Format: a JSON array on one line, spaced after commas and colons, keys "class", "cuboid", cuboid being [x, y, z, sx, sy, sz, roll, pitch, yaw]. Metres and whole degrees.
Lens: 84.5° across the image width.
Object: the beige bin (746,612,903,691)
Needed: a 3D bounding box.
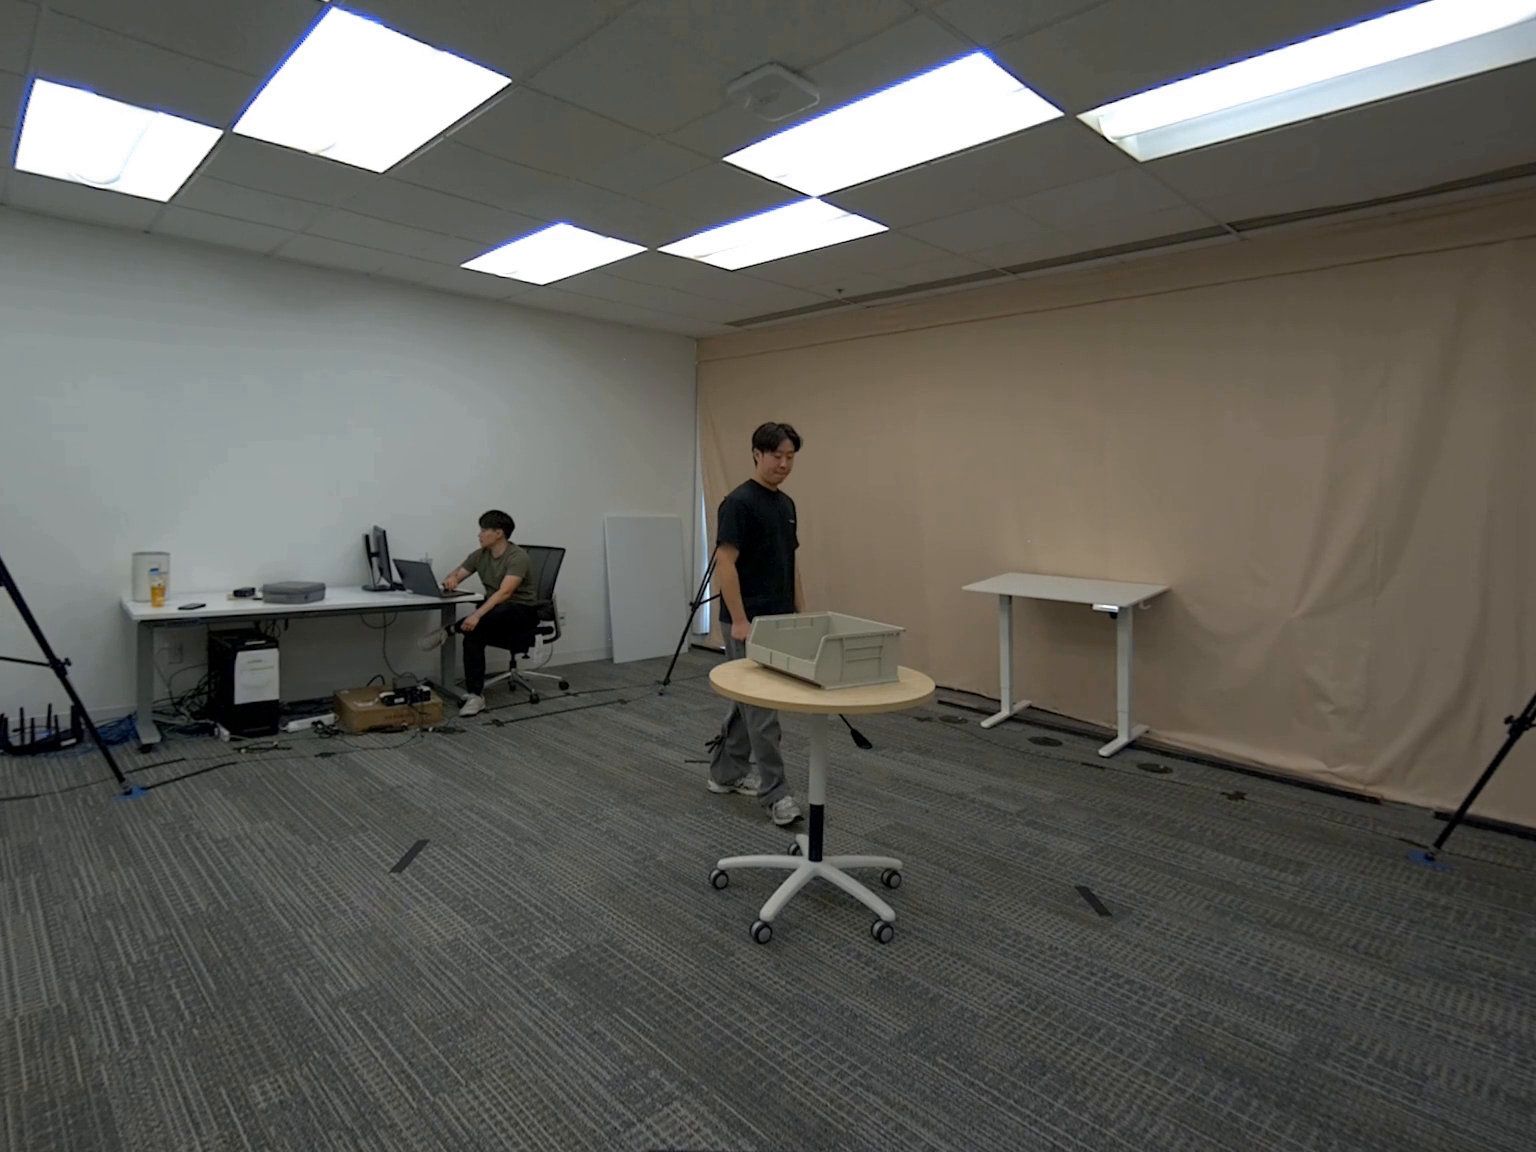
[{"class": "beige bin", "cuboid": [0.184, 0.257, 2.929, 0.369, 0.188, 0.432, 0, 5, -33]}]
